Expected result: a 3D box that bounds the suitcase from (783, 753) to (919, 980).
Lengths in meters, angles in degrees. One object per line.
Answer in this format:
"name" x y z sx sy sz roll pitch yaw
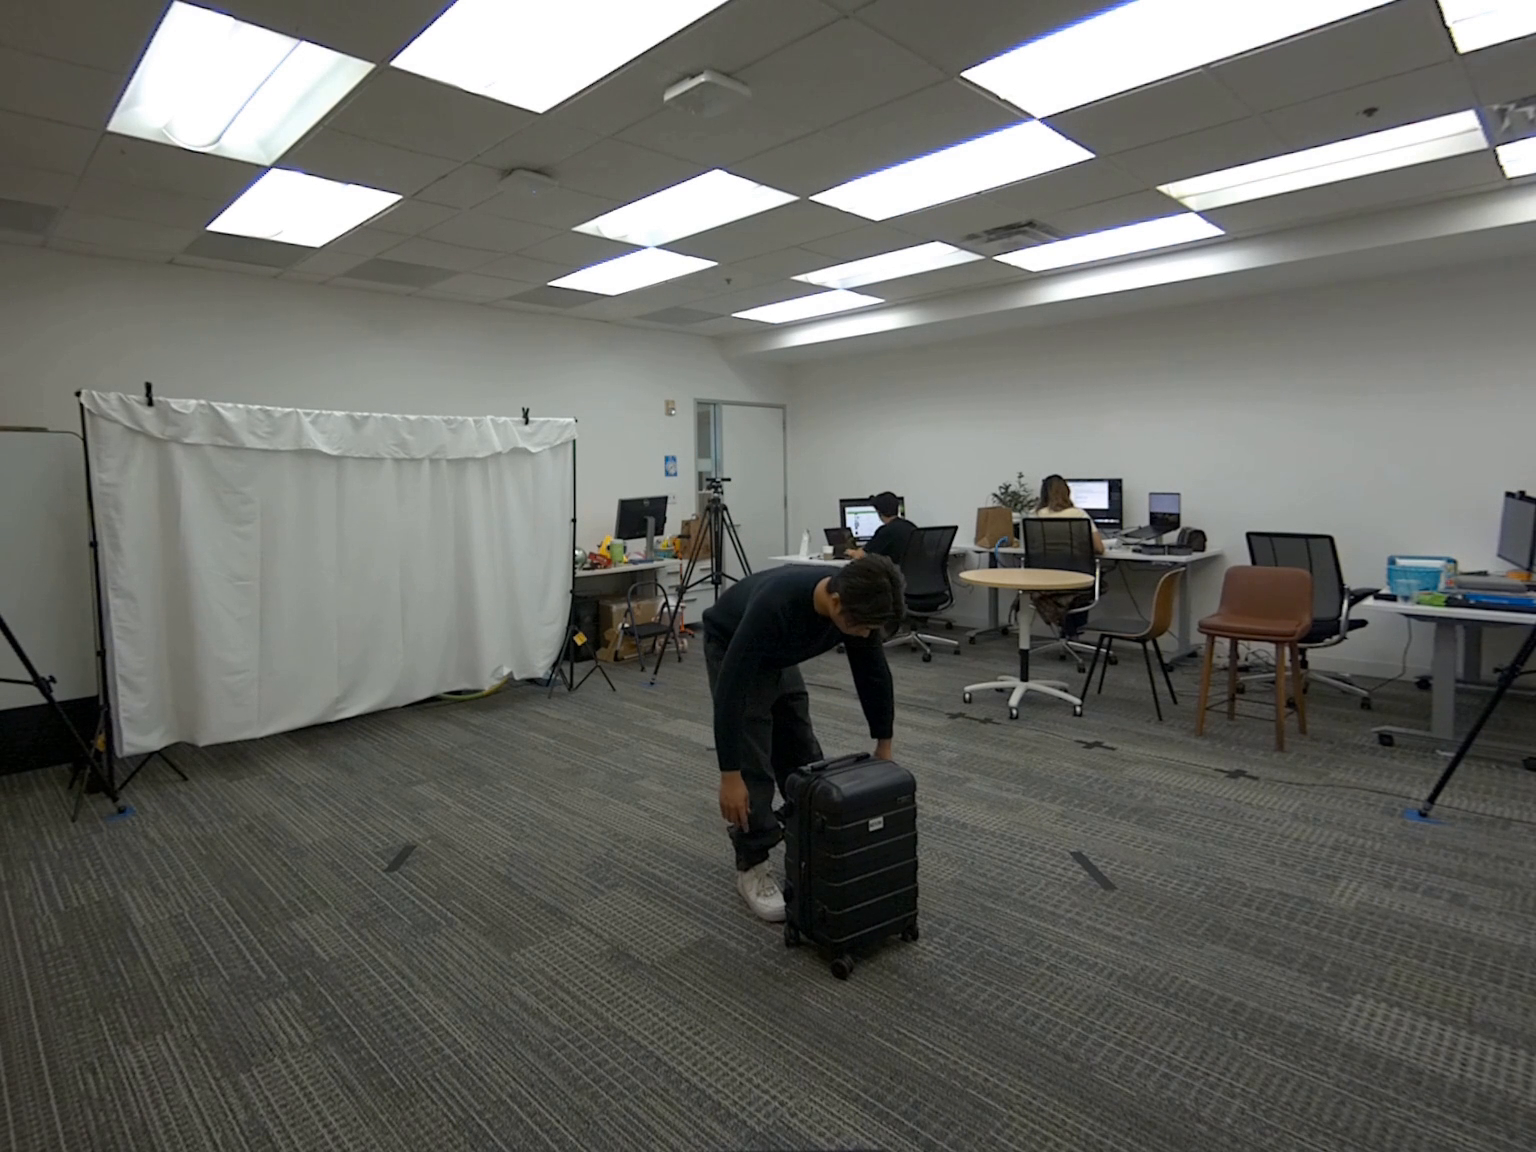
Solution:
"suitcase" 0.255 0.825 2.549 0.366 0.547 0.255 -4 5 -33
